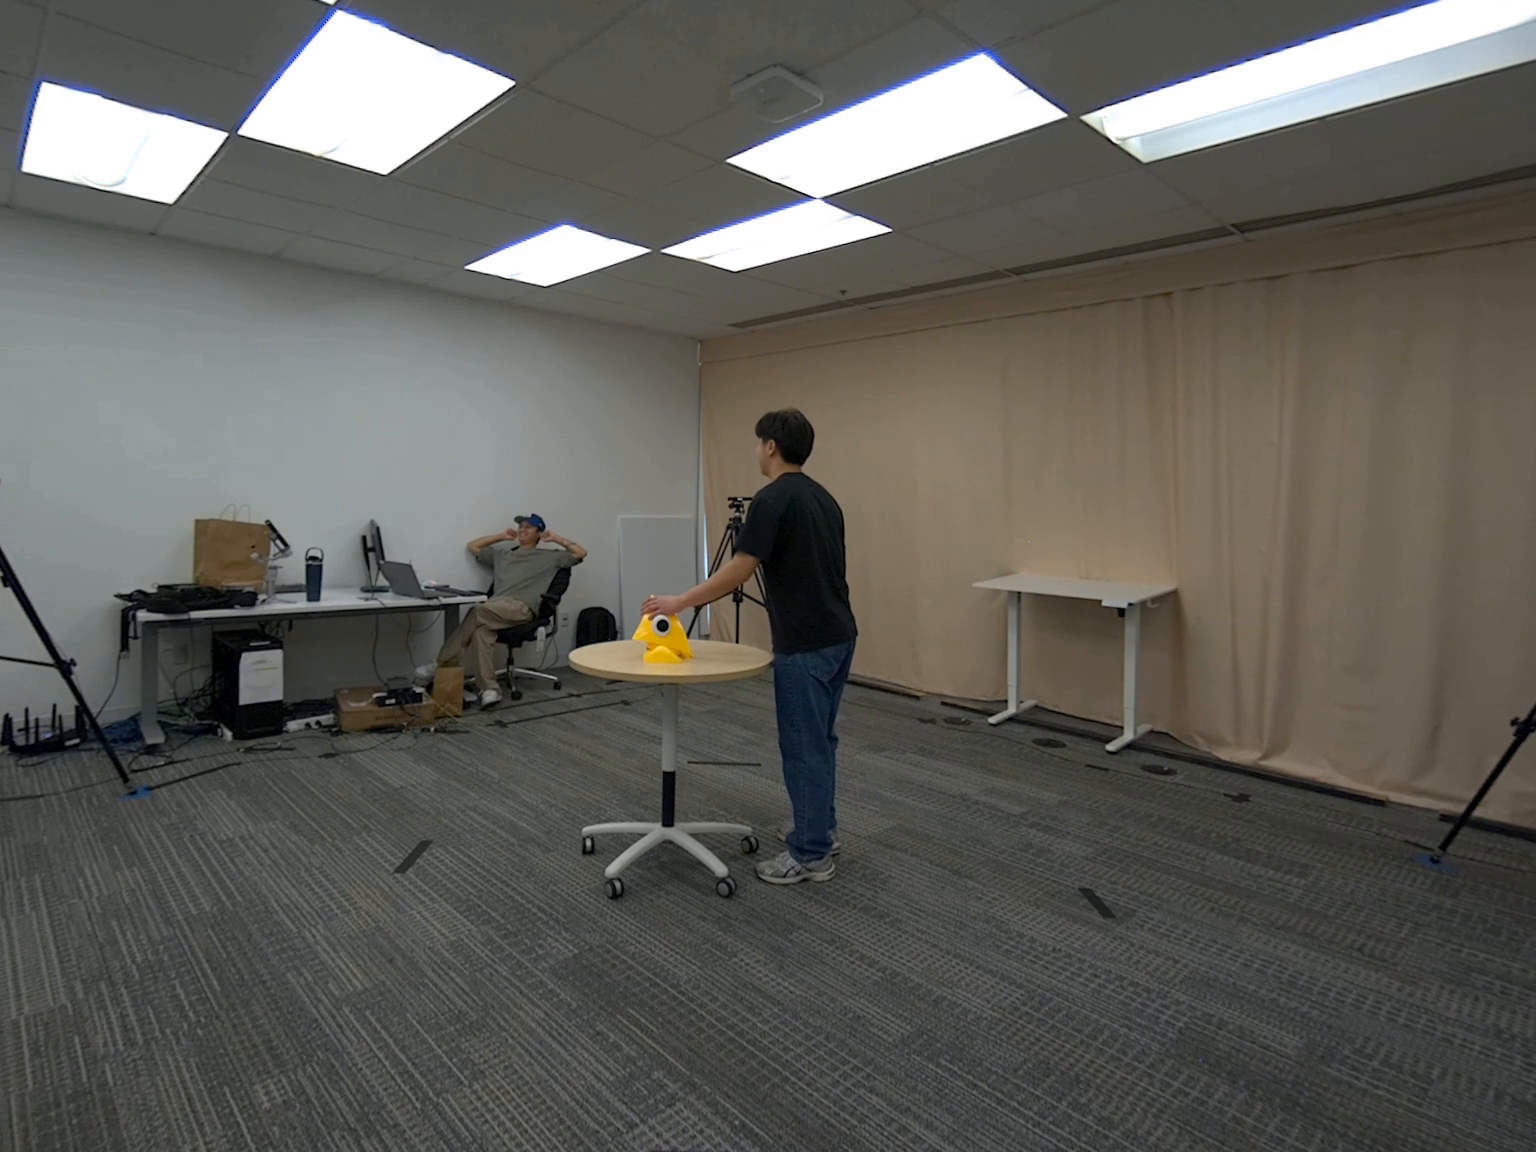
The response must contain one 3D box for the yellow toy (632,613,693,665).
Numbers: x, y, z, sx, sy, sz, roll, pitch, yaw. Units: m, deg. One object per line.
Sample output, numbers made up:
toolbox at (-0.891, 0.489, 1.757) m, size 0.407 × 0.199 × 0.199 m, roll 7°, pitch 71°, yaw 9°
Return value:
yellow toy at (-0.378, 0.190, 3.113) m, size 0.196 × 0.230 × 0.202 m, roll 2°, pitch 4°, yaw 17°
